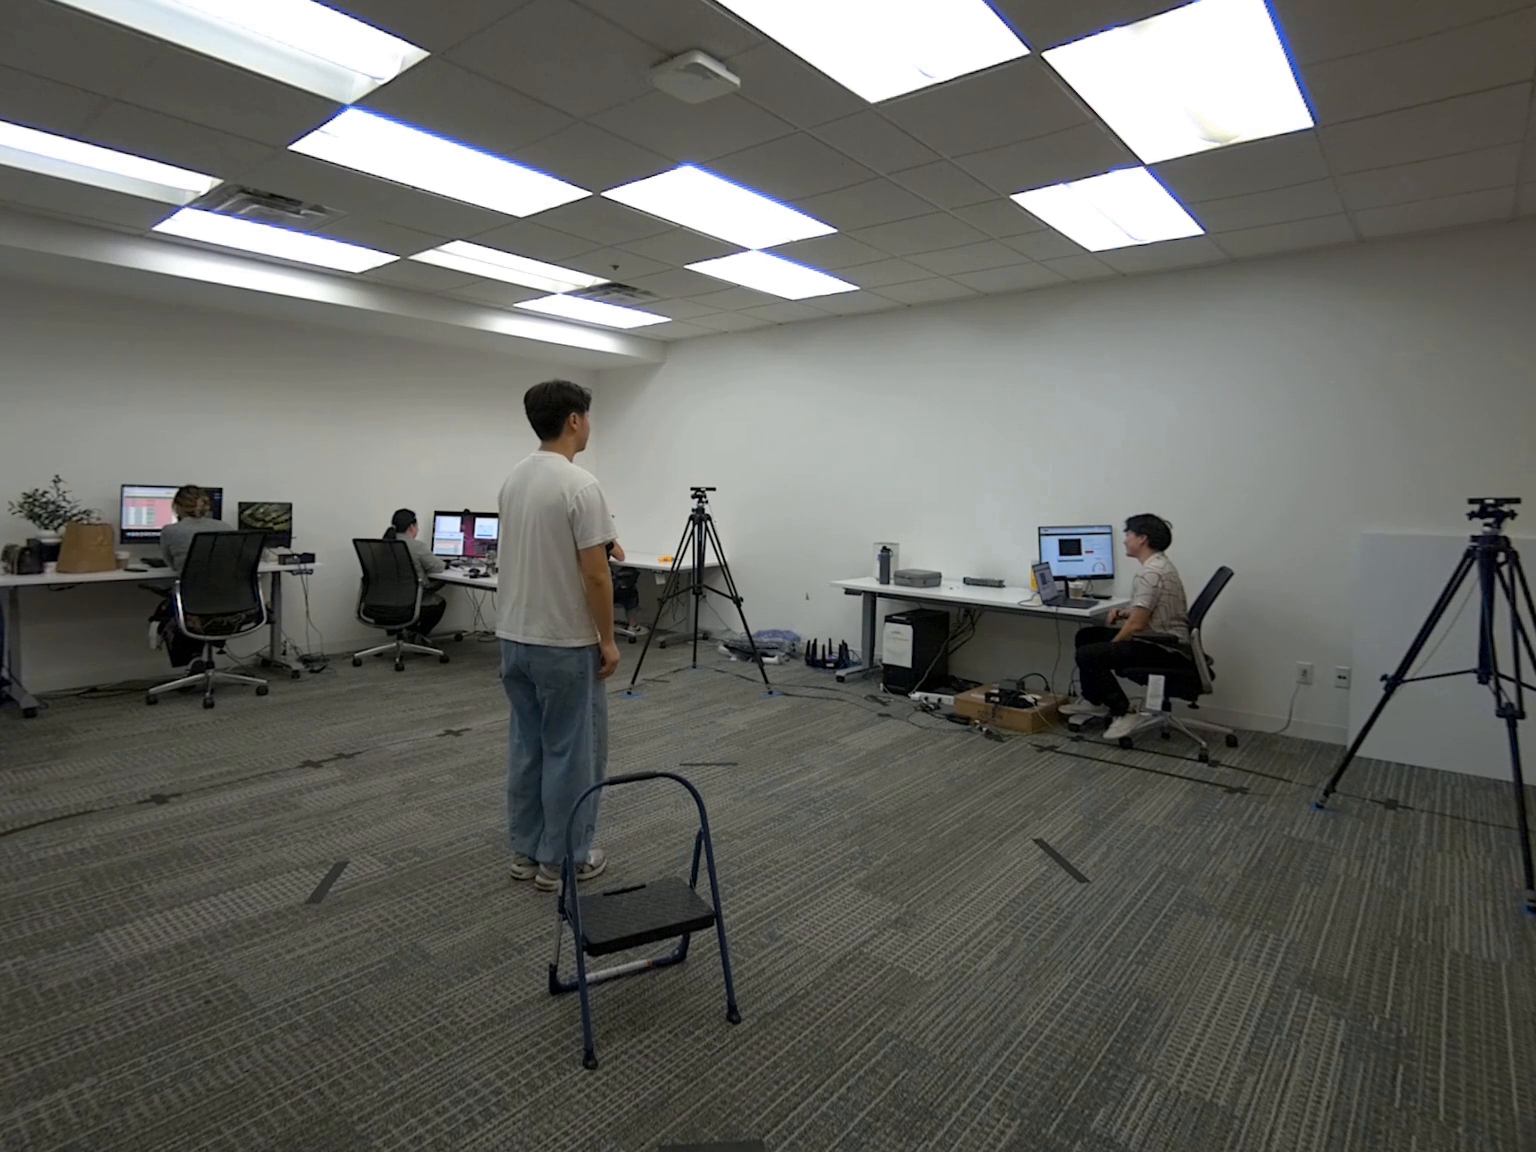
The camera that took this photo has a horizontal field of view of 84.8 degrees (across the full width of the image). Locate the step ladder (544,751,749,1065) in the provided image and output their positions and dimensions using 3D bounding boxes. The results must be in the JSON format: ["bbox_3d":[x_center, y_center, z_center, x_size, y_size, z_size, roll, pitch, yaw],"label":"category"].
[{"bbox_3d":[-0.335,0.844,2.254,0.419,0.605,0.360,0,3,-30],"label":"step ladder"}]
